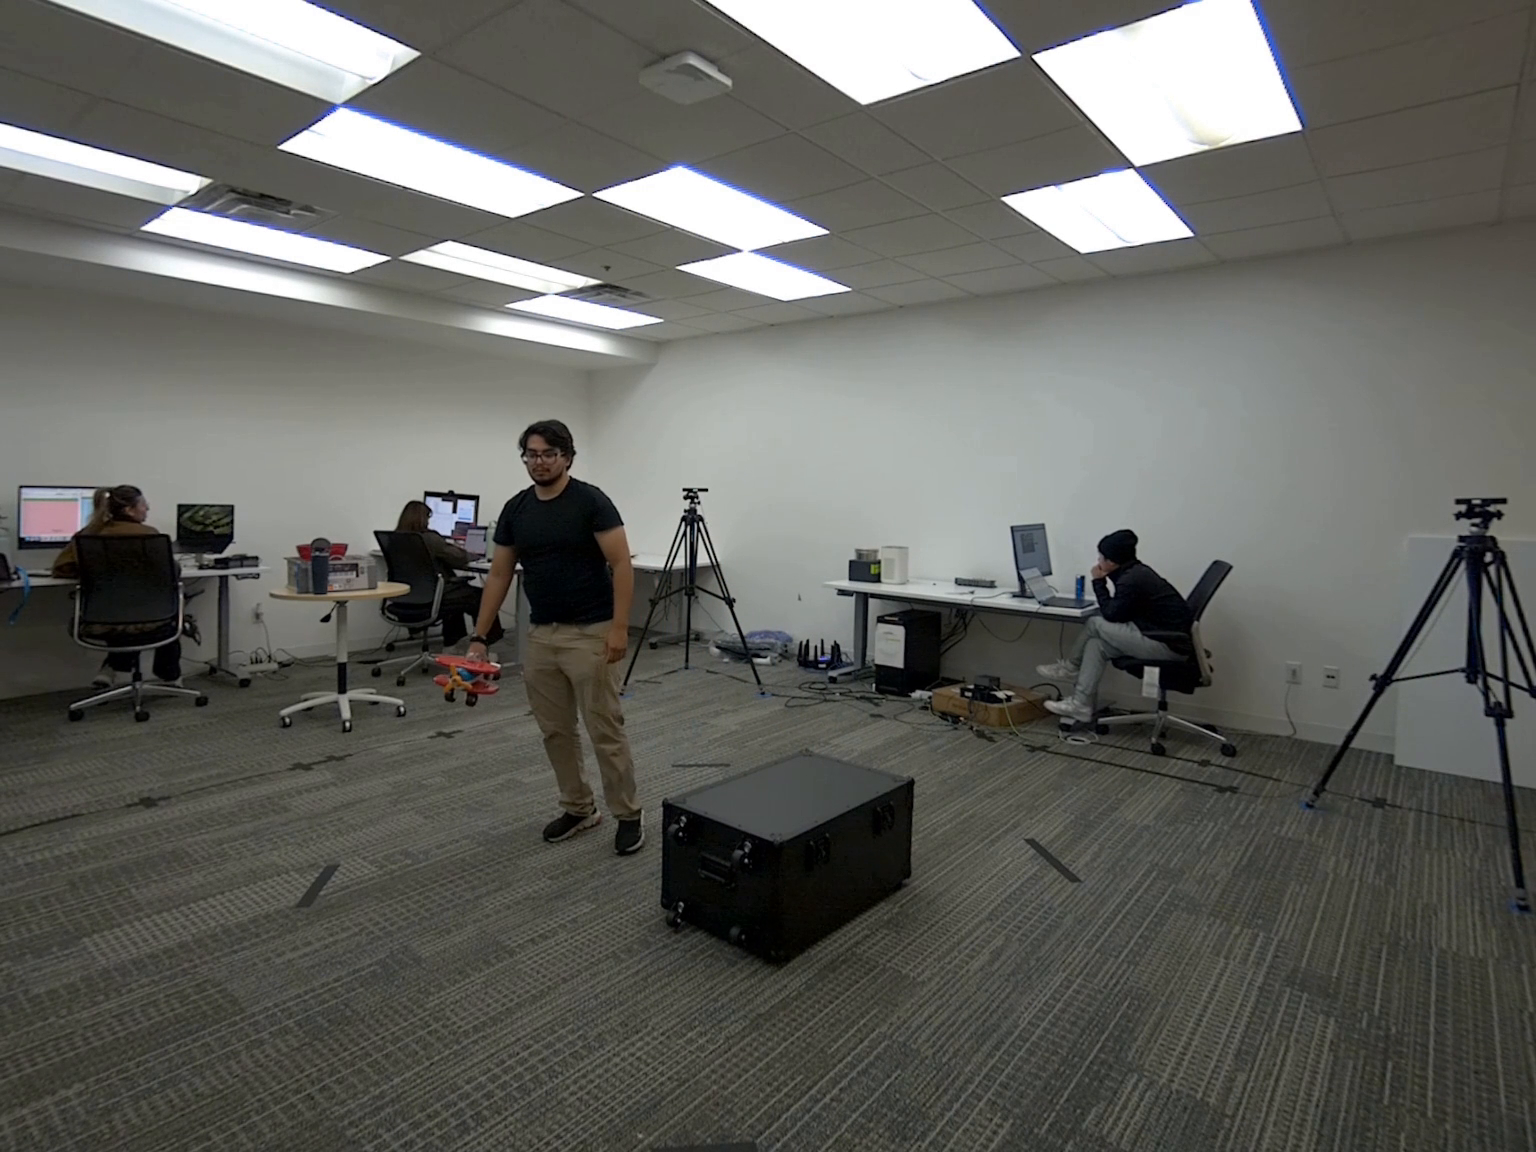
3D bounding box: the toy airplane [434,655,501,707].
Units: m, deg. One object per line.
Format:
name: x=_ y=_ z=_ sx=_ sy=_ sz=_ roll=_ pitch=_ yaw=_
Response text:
toy airplane: x=-1.162 y=0.367 z=3.241 sx=0.247 sy=0.153 sz=0.268 roll=-3 pitch=27 yaw=-16
